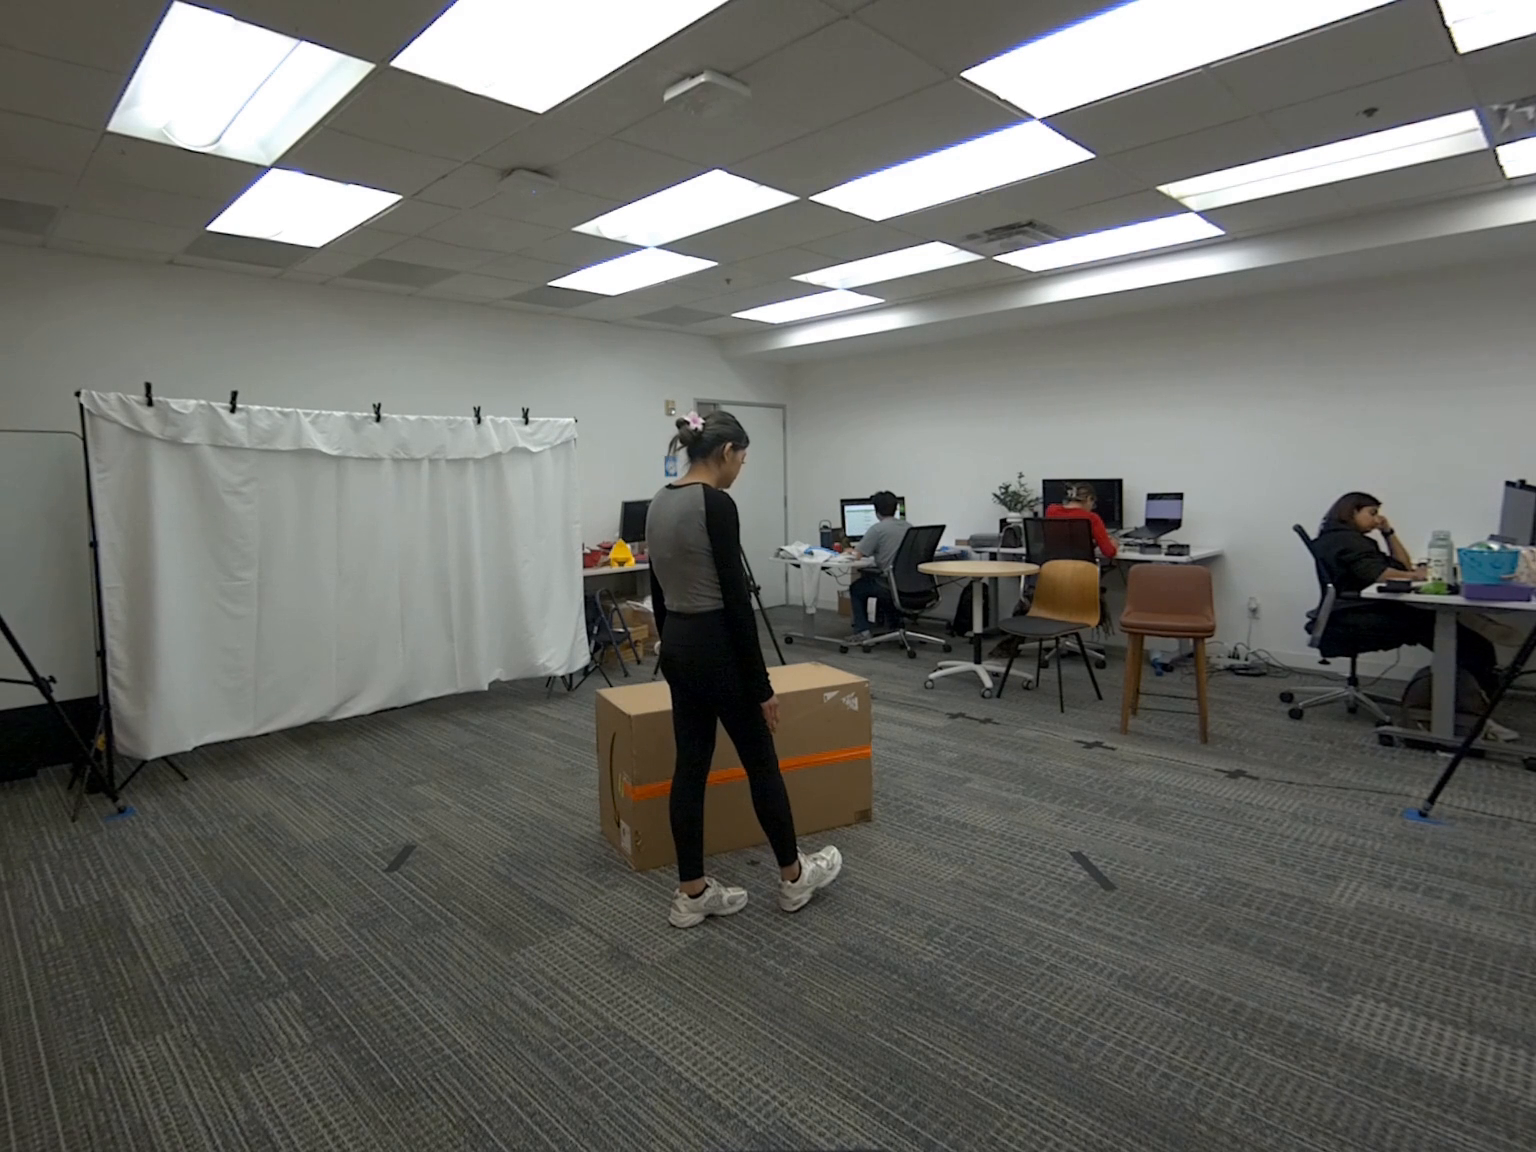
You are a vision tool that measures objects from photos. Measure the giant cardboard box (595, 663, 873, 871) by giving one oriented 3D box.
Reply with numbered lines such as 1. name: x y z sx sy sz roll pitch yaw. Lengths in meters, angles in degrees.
1. giant cardboard box: -0.130 0.719 3.424 1.004 0.575 0.437 -4 5 -25
